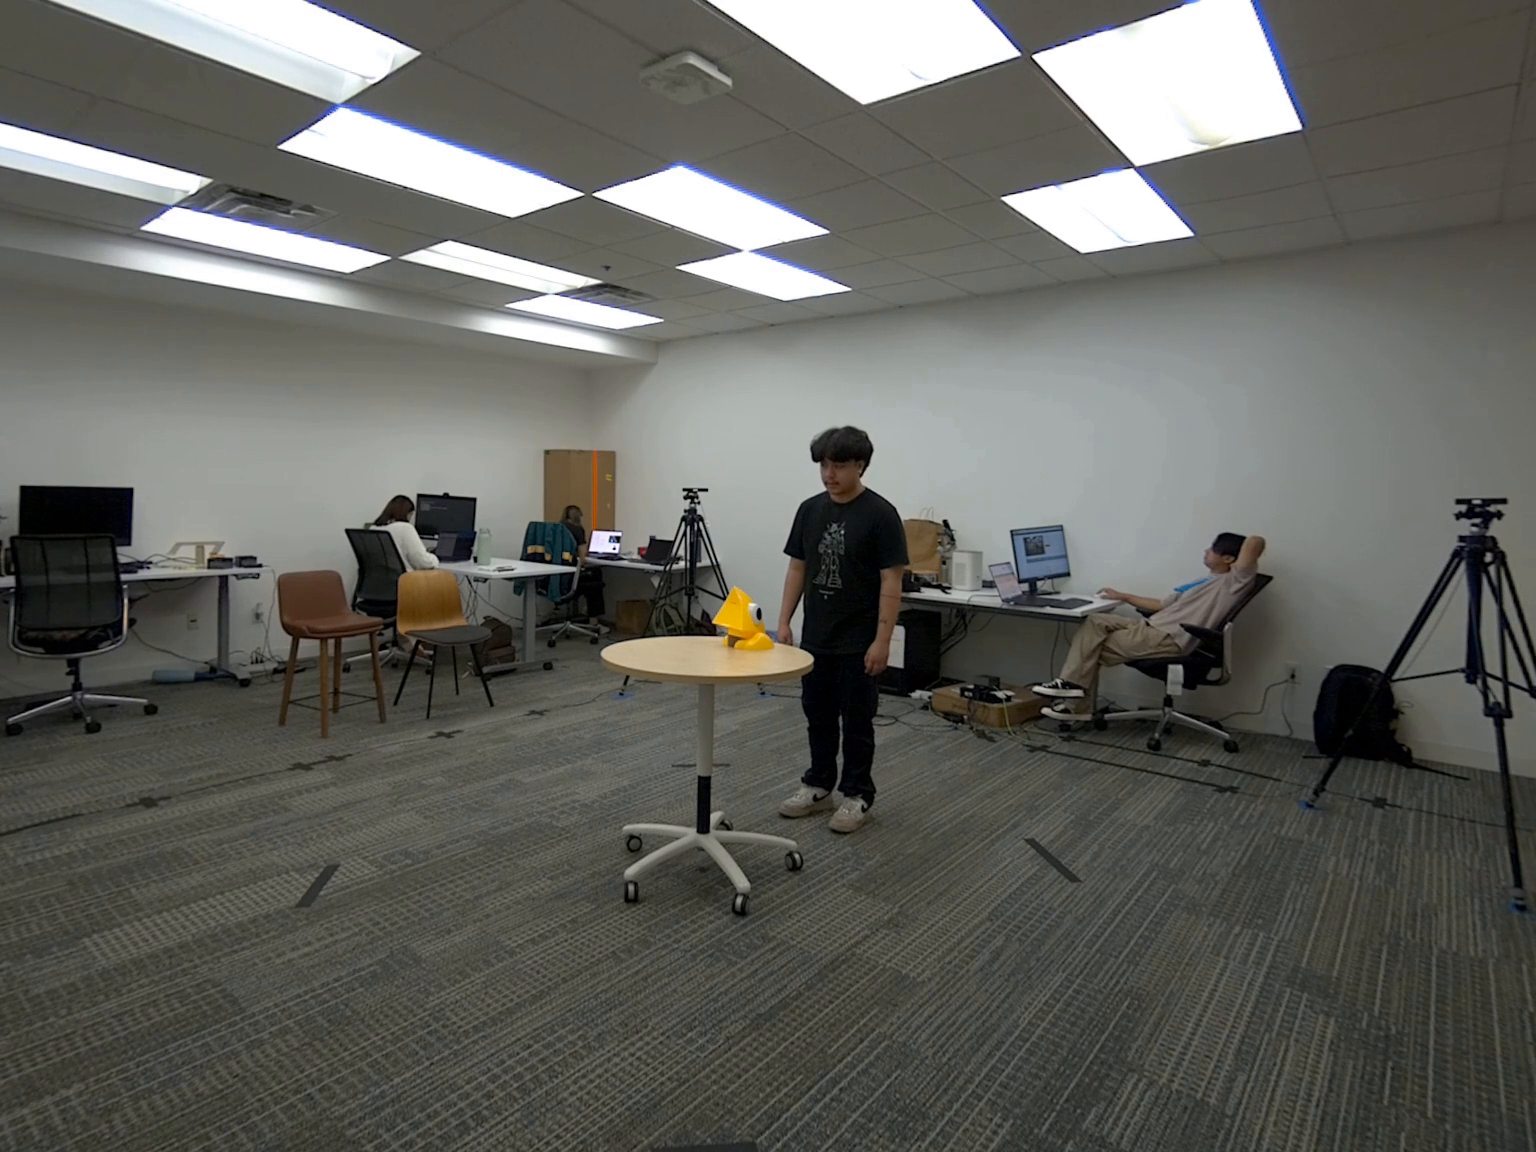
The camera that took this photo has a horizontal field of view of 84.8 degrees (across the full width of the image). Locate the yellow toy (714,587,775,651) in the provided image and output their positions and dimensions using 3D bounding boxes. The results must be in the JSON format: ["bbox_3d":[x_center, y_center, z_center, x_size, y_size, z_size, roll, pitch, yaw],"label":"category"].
[{"bbox_3d":[-0.098,0.151,3.272,0.187,0.230,0.211,-1,4,-36],"label":"yellow toy"}]
